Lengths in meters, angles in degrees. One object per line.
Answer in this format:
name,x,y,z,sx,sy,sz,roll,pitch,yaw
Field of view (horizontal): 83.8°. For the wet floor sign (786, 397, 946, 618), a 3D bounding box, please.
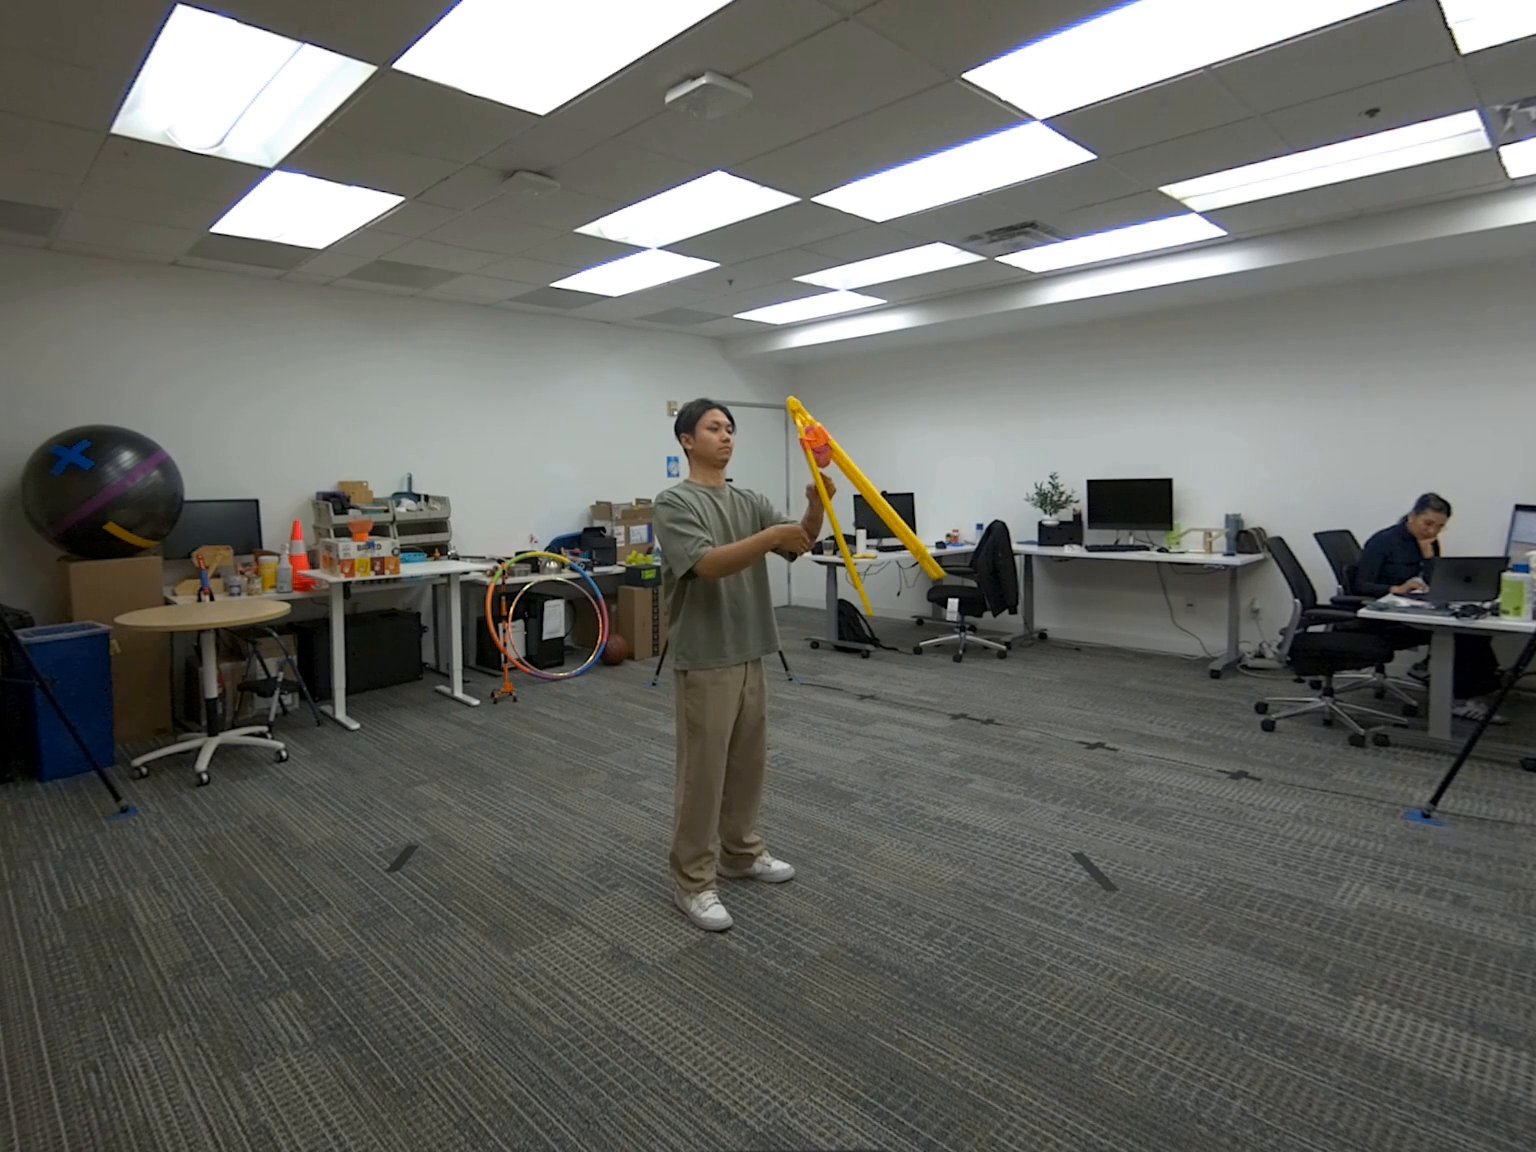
wet floor sign,0.224,-0.219,2.462,0.290,0.654,0.278,-29,-9,3
